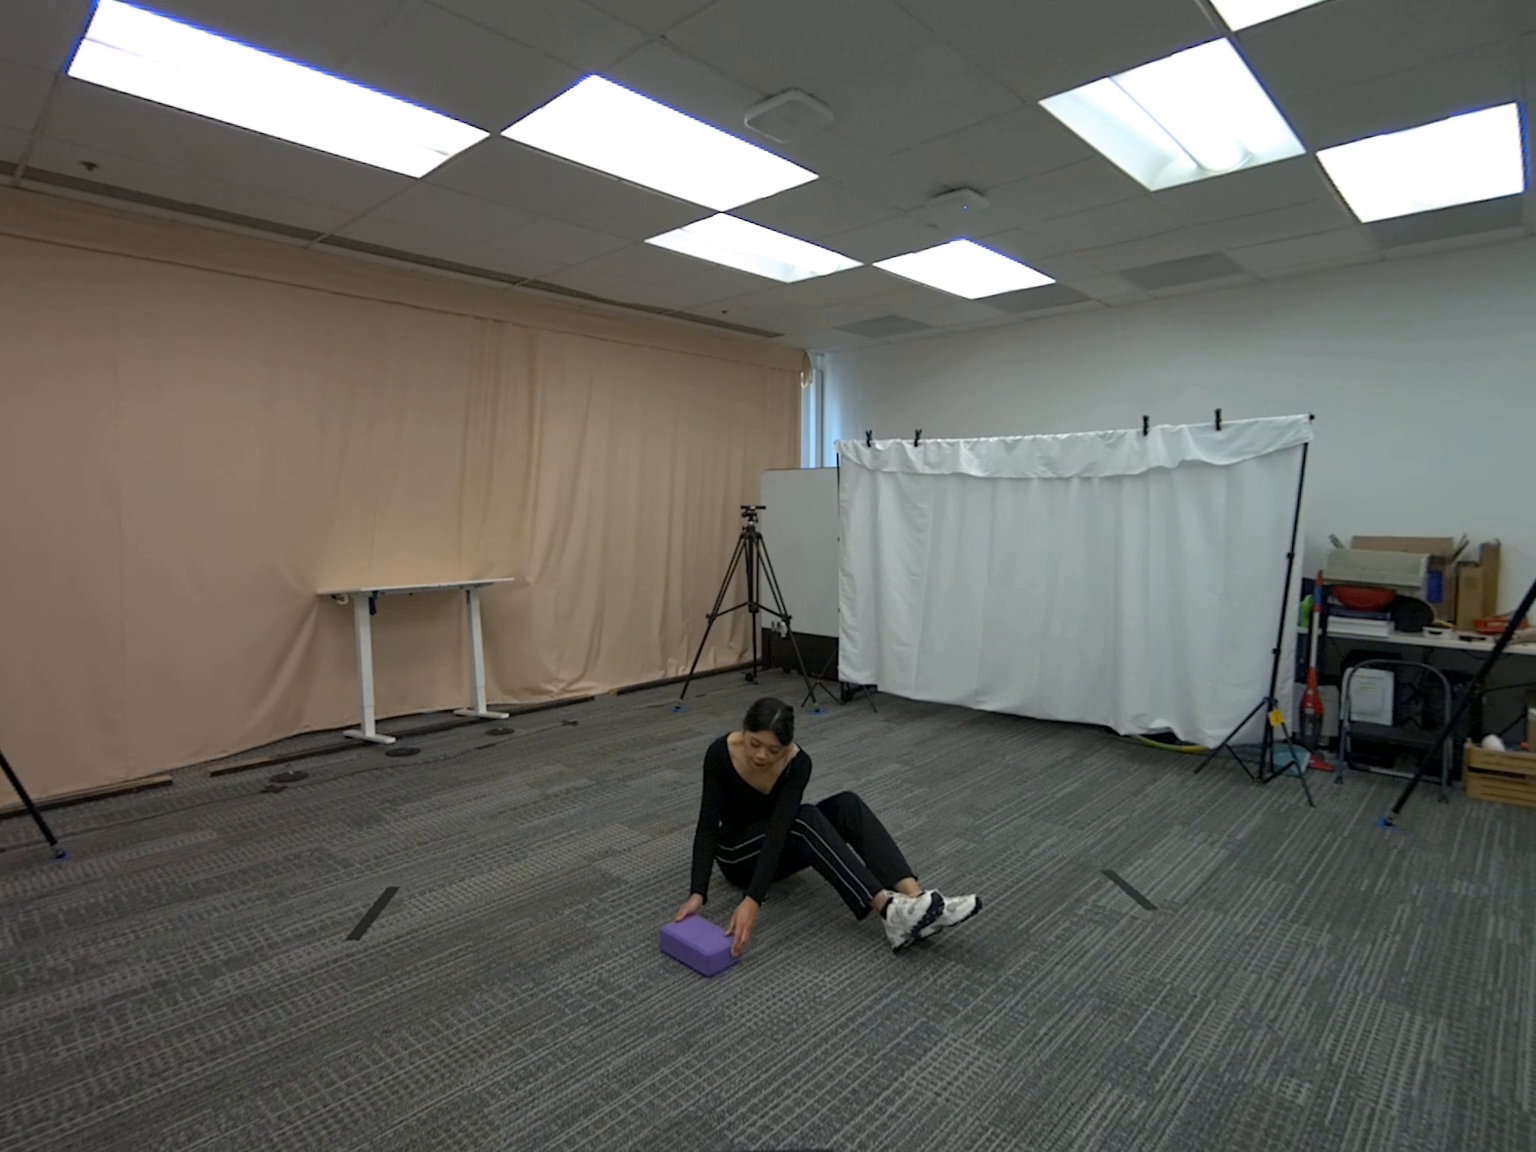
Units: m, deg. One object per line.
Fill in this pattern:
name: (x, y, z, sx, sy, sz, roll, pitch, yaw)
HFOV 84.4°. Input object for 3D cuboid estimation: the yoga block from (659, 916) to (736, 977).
yoga block: (-0.211, 1.132, 2.607, 0.144, 0.076, 0.237, -5, 8, -44)
